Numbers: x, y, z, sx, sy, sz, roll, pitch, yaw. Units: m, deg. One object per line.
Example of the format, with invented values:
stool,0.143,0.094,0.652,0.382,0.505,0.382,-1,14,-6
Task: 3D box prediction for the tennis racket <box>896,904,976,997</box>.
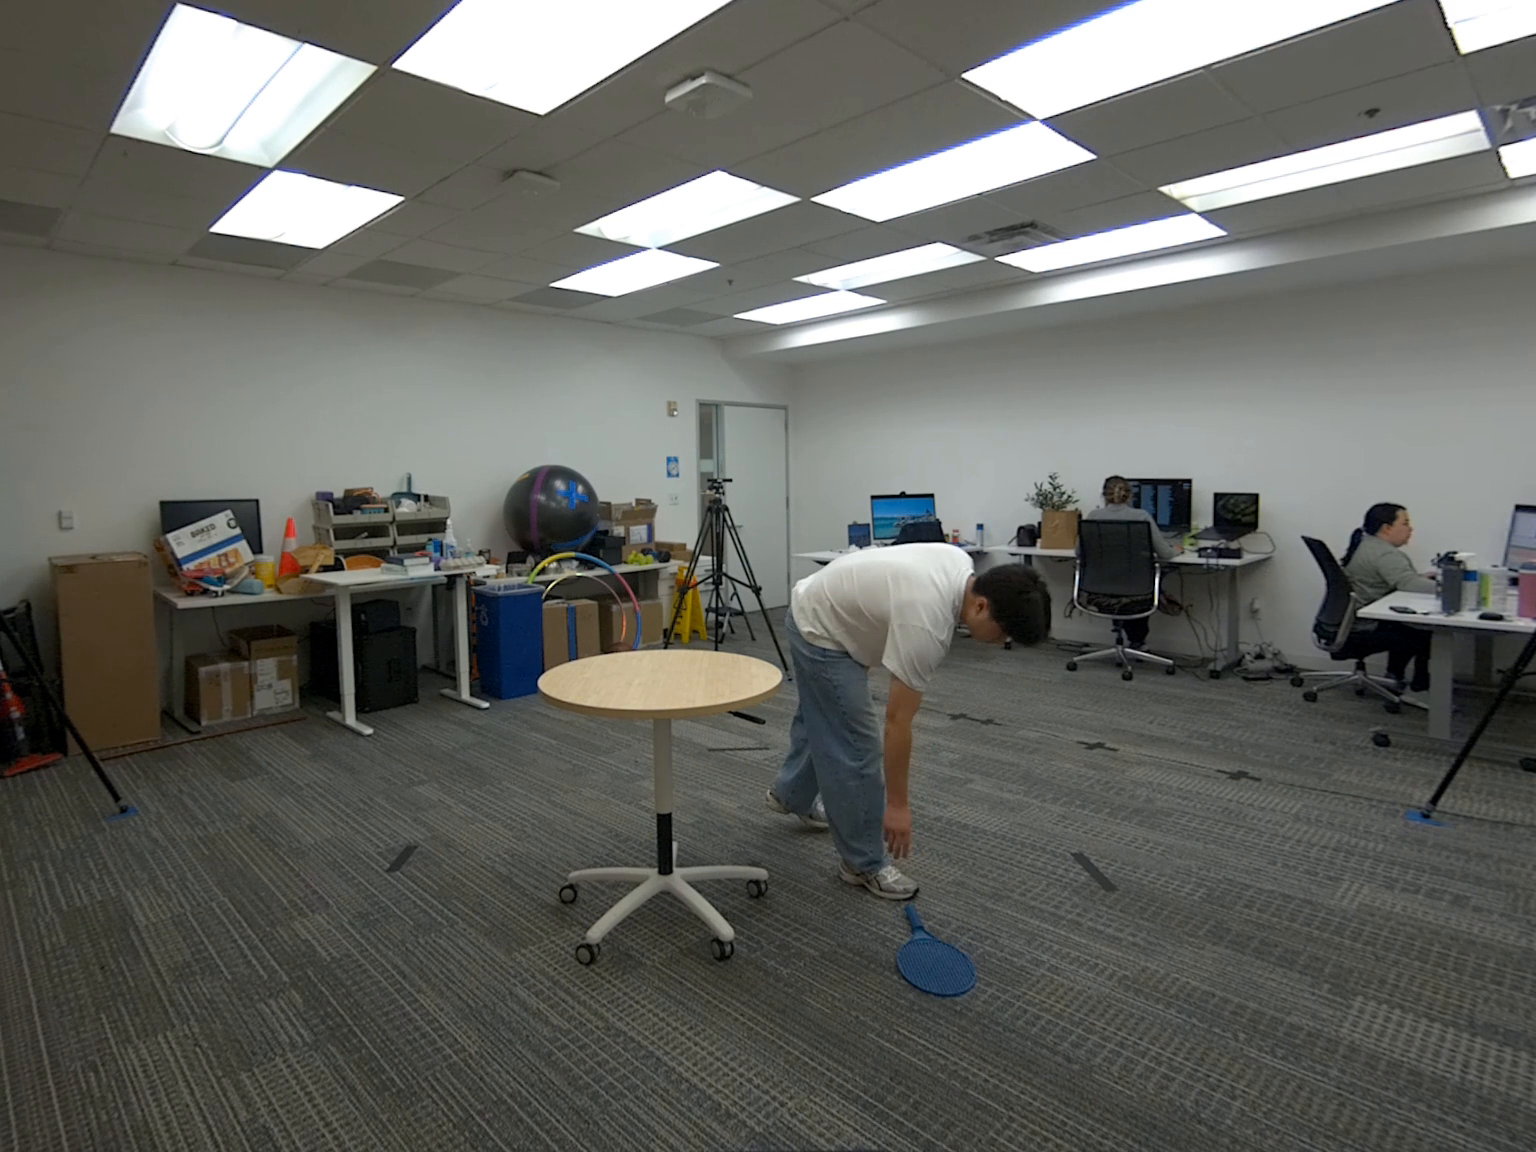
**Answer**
tennis racket,0.473,1.080,2.513,0.214,0.031,0.435,-3,7,-2
